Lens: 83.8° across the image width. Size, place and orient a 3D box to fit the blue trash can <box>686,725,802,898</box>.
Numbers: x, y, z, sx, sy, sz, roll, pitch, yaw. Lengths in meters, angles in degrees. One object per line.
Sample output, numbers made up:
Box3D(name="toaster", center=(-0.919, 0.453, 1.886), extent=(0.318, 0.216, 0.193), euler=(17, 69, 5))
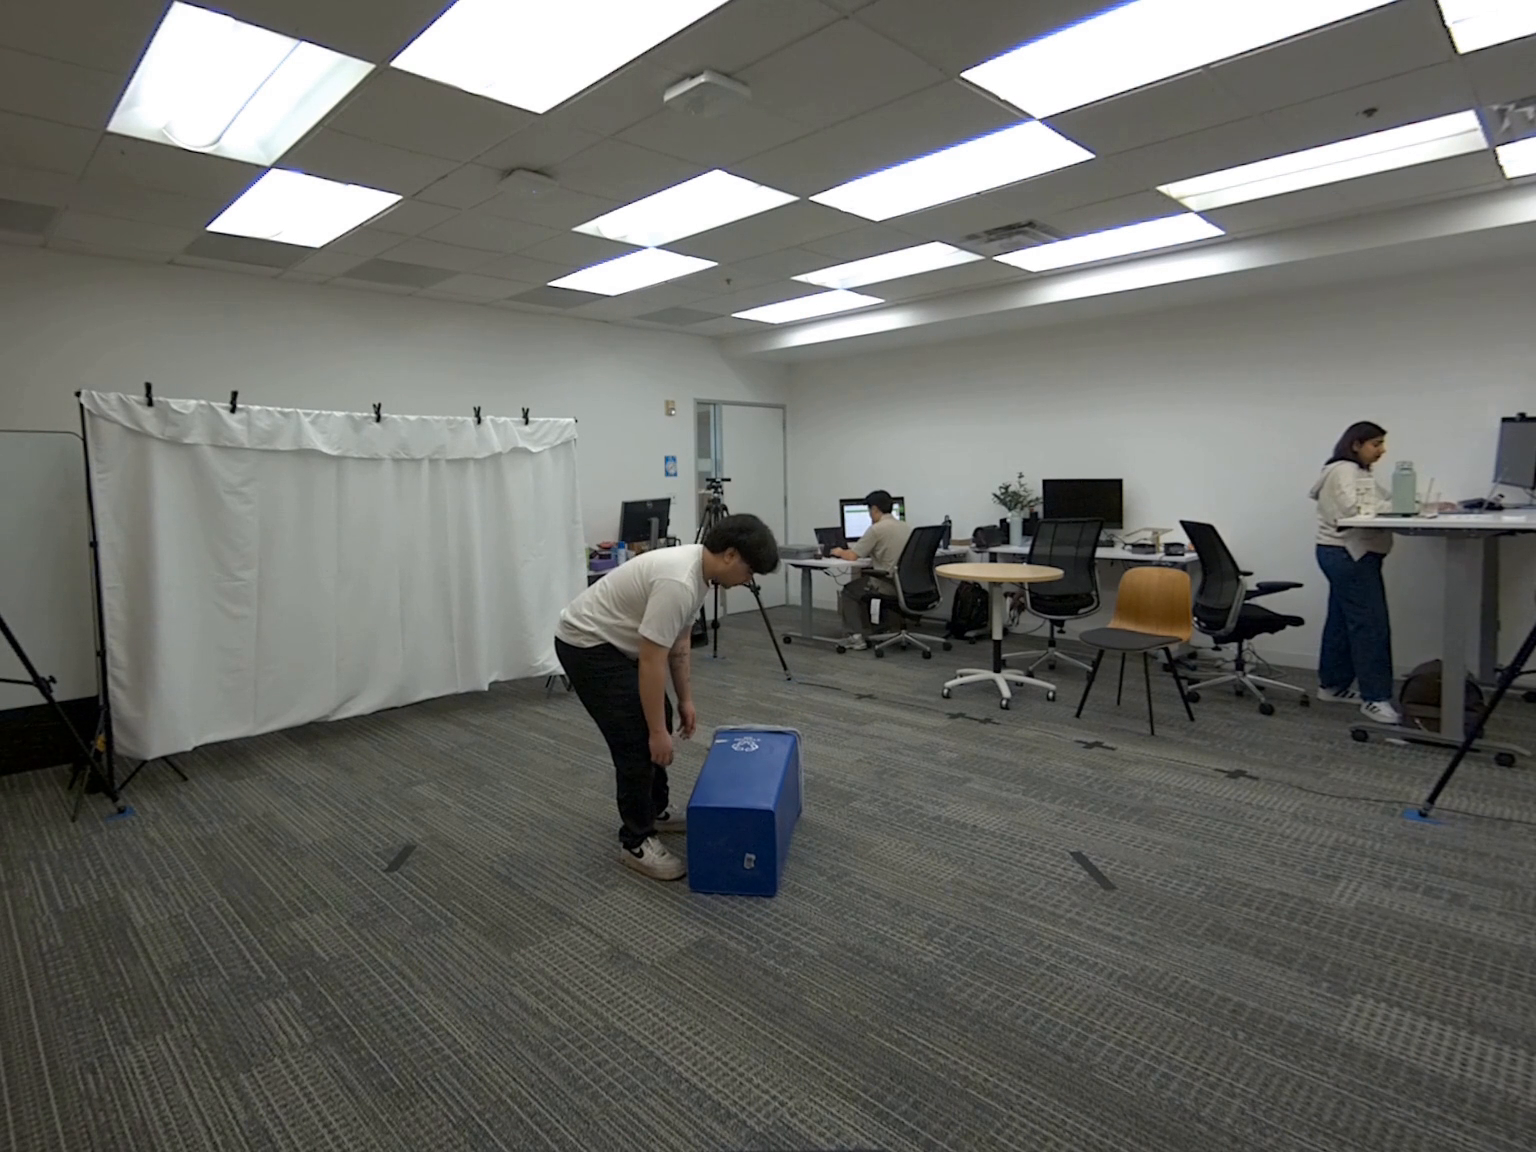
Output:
Box3D(name="blue trash can", center=(-0.076, 0.864, 3.202), extent=(0.377, 0.375, 0.713), euler=(0, 9, 6))
